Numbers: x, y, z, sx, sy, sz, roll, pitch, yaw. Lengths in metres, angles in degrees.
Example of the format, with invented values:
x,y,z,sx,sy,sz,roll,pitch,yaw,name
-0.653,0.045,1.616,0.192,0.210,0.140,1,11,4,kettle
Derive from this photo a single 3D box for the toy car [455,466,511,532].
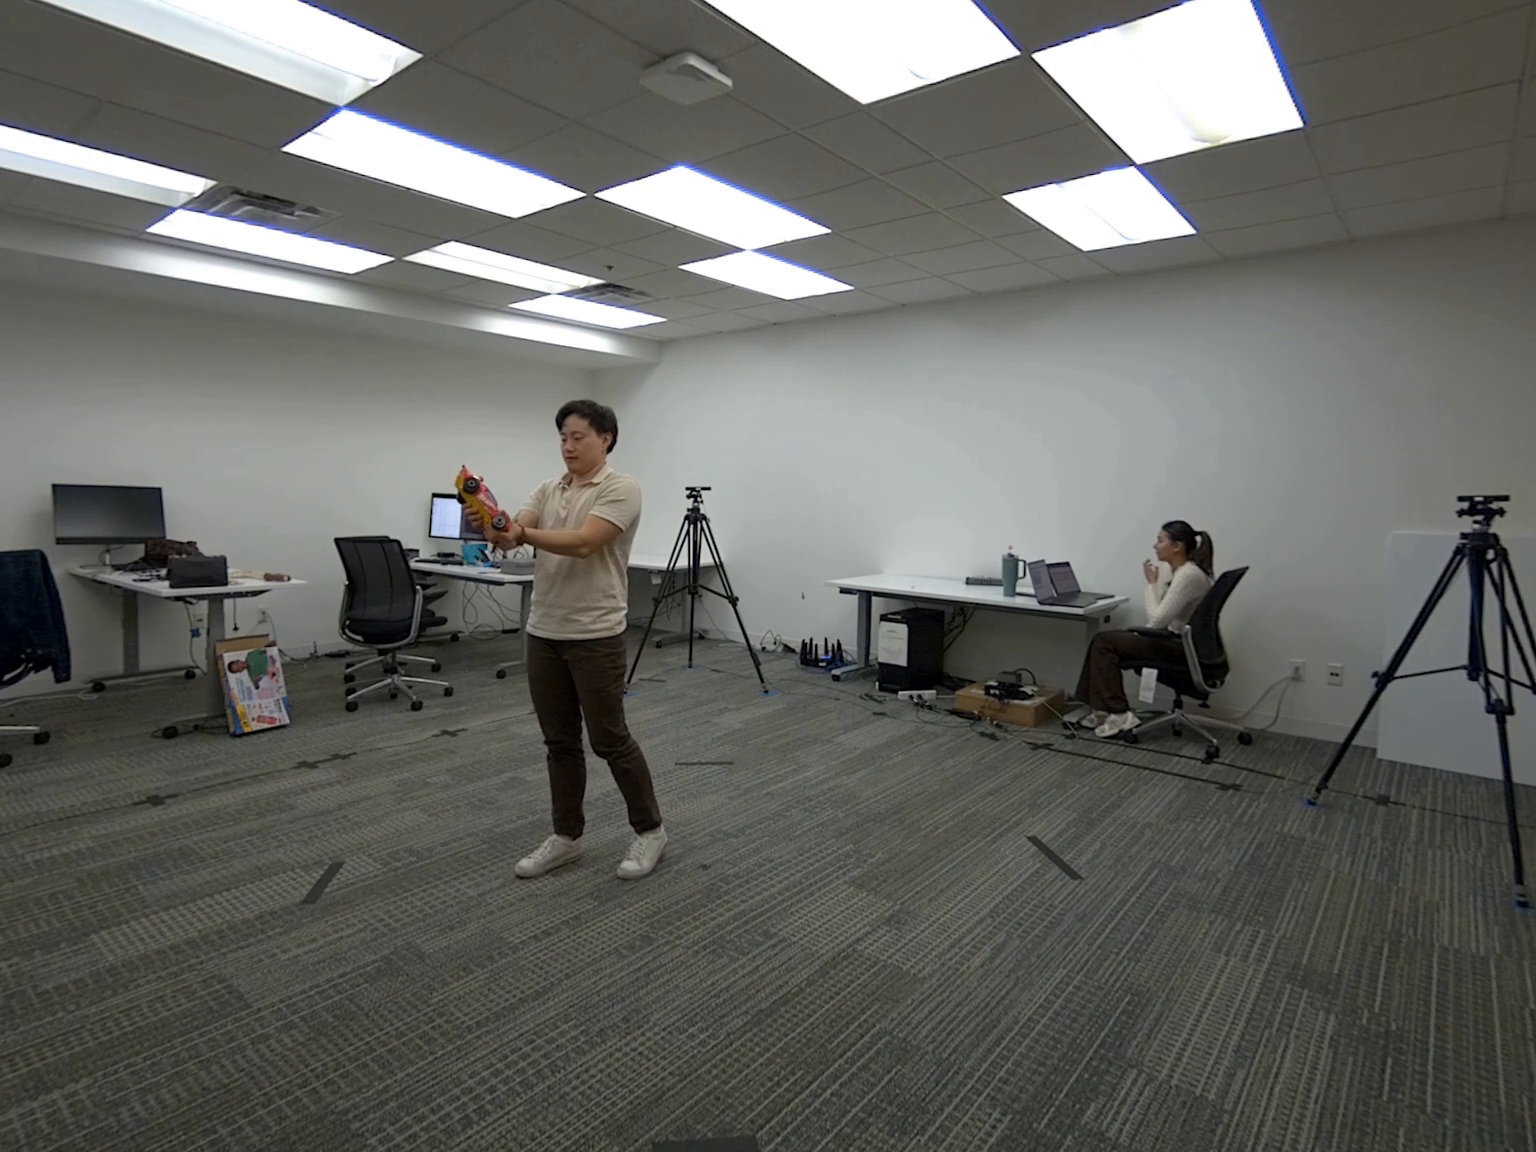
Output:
x,y,z,sx,sy,sz,roll,pitch,yaw,name
-0.925,-0.235,2.692,0.082,0.257,0.131,-23,-8,-35,toy car
